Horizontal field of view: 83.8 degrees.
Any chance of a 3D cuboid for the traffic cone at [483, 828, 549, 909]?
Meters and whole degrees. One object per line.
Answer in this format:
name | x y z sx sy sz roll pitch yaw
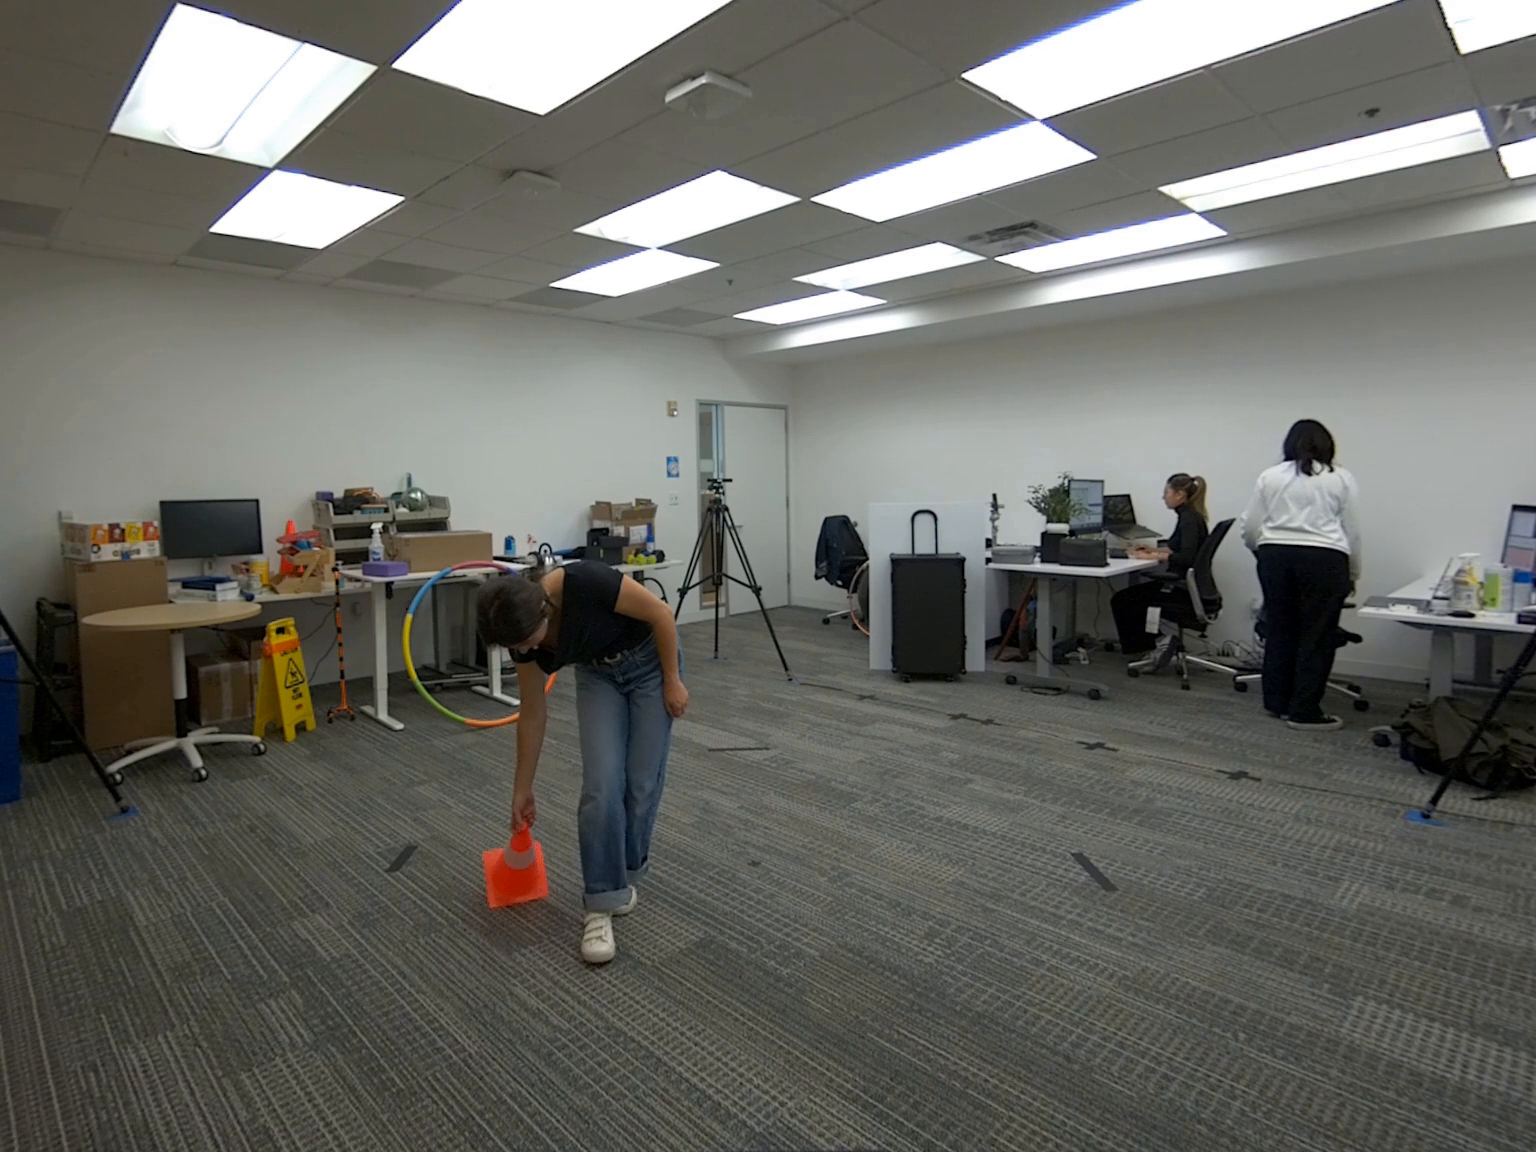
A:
traffic cone | -0.801 0.895 2.784 0.199 0.212 0.378 -3 -41 -23
